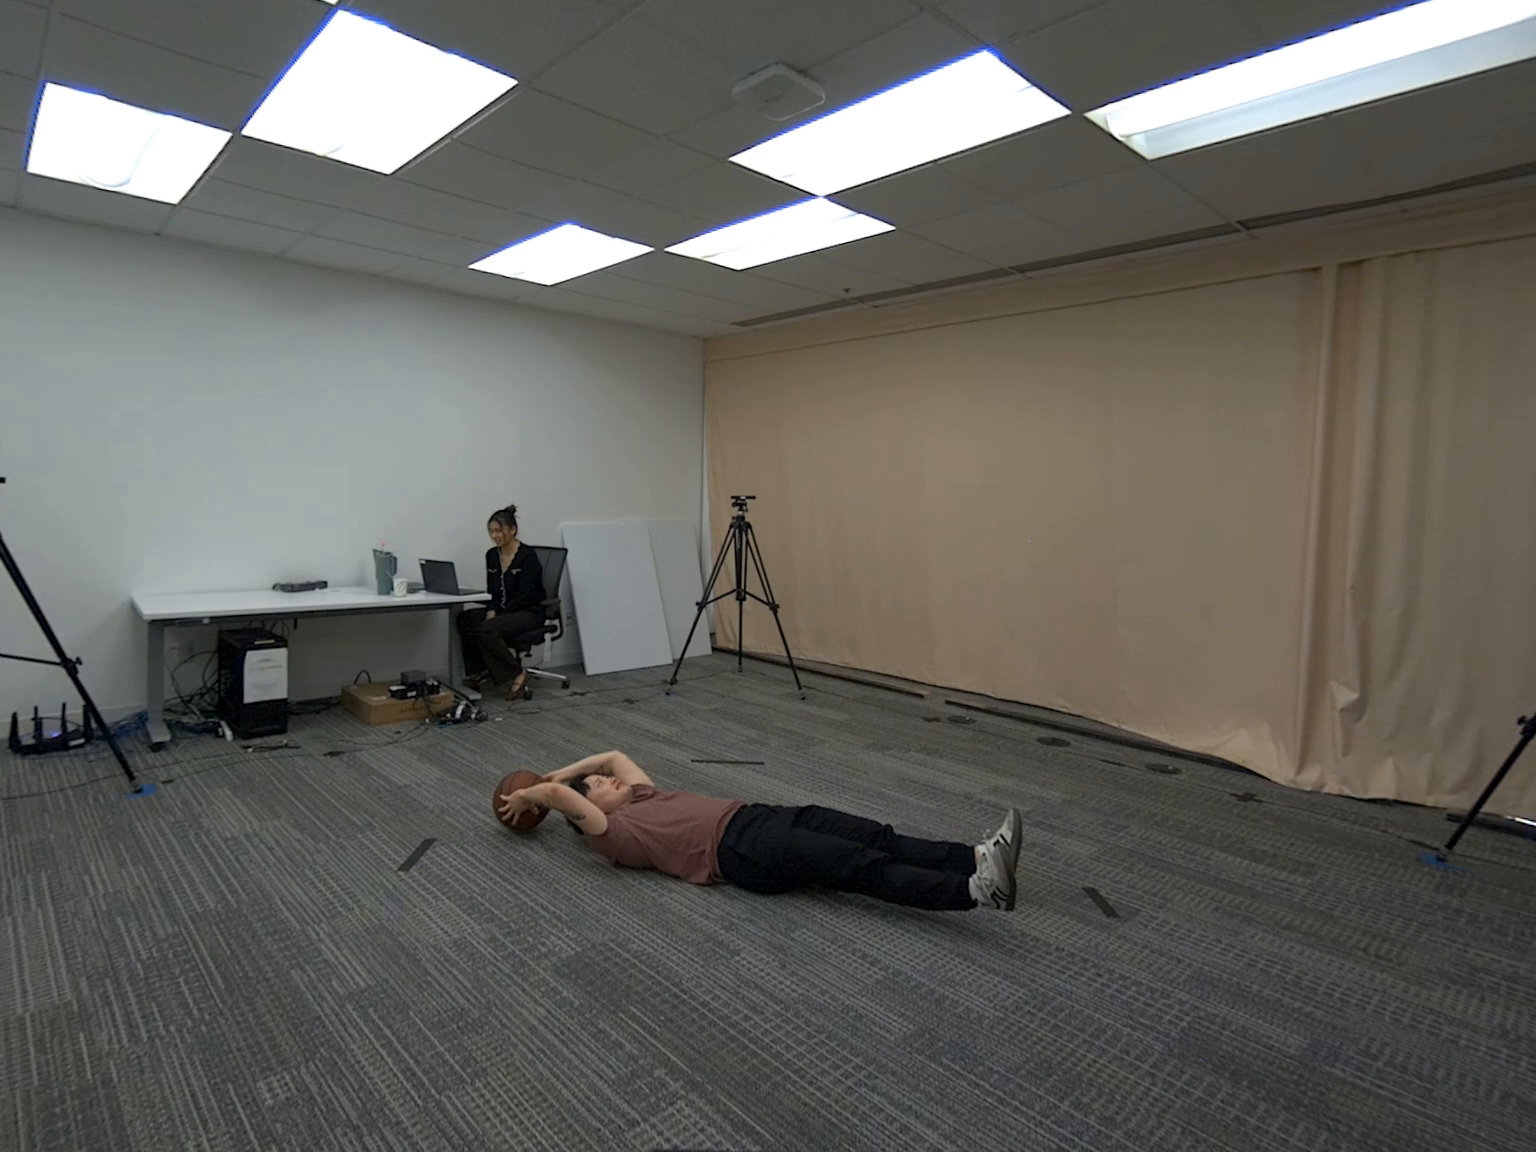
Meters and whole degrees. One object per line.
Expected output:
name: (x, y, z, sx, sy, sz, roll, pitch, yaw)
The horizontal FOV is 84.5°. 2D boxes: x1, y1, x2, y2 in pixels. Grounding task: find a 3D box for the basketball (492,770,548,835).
basketball: (-1.019, 0.899, 3.449, 0.236, 0.234, 0.237, 0, 8, -1)
